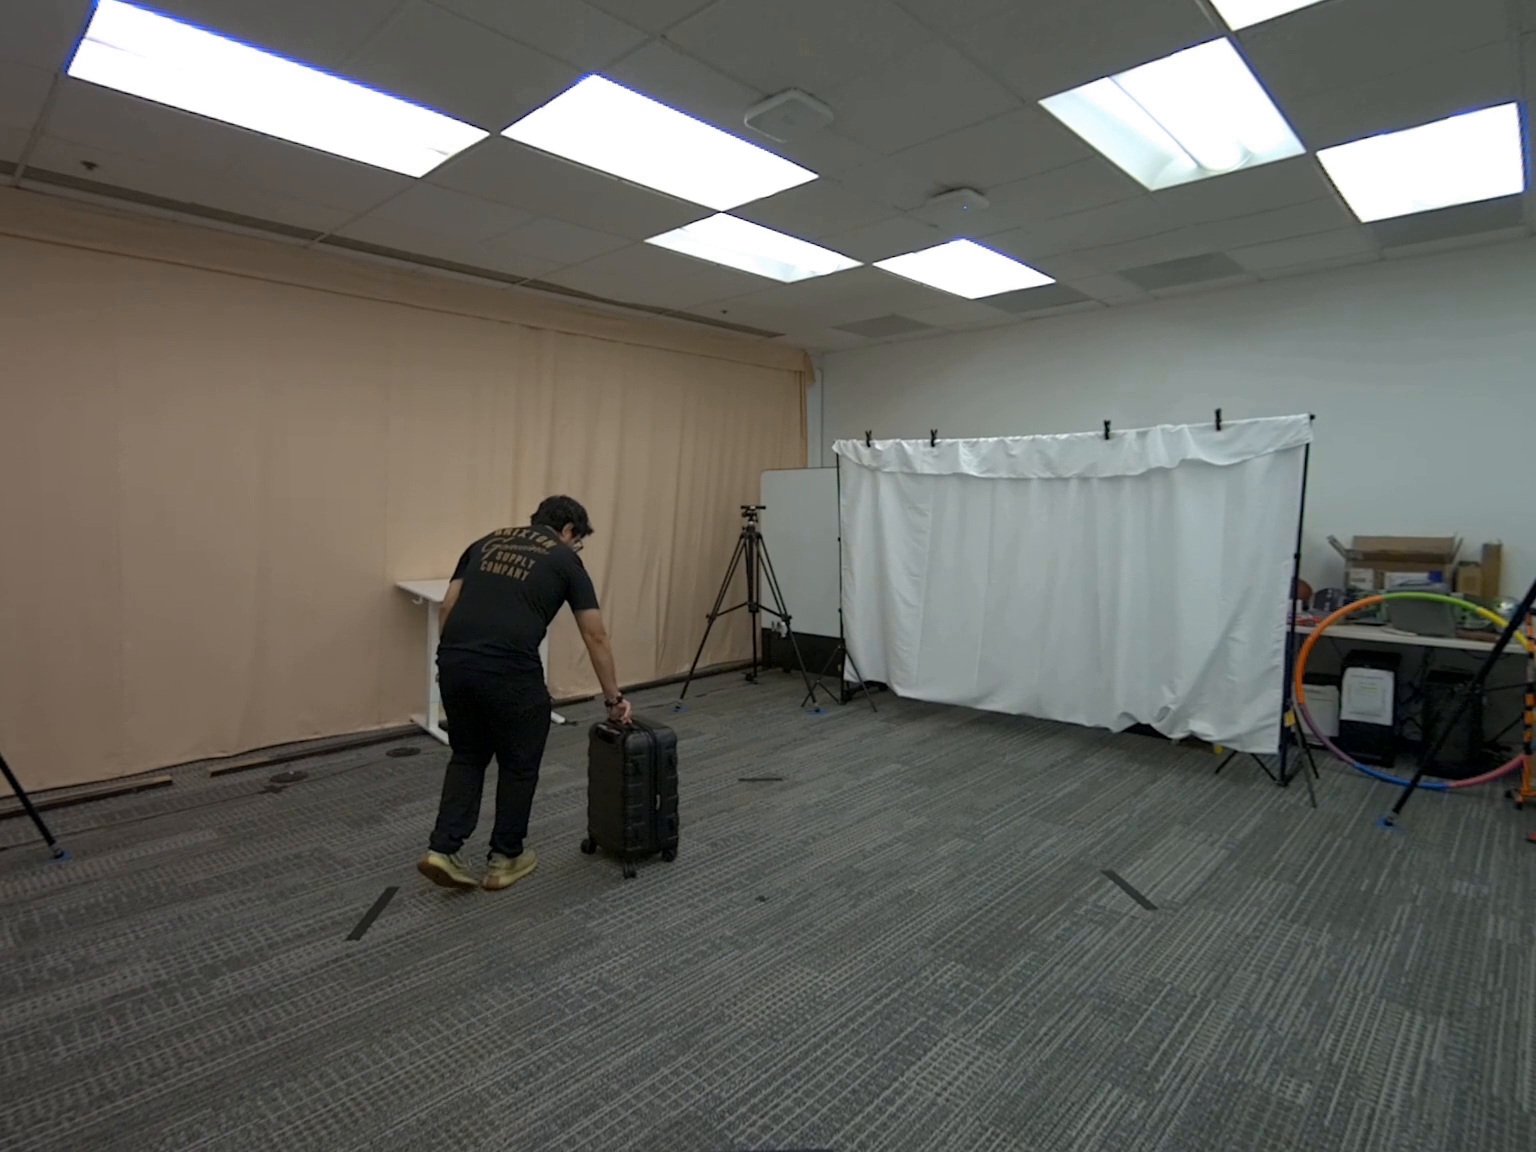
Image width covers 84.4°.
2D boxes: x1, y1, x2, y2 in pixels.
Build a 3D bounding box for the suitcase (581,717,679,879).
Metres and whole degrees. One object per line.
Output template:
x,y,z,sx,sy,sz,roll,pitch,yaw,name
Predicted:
-0.547,0.842,3.349,0.241,0.549,0.387,-1,3,-39,suitcase
